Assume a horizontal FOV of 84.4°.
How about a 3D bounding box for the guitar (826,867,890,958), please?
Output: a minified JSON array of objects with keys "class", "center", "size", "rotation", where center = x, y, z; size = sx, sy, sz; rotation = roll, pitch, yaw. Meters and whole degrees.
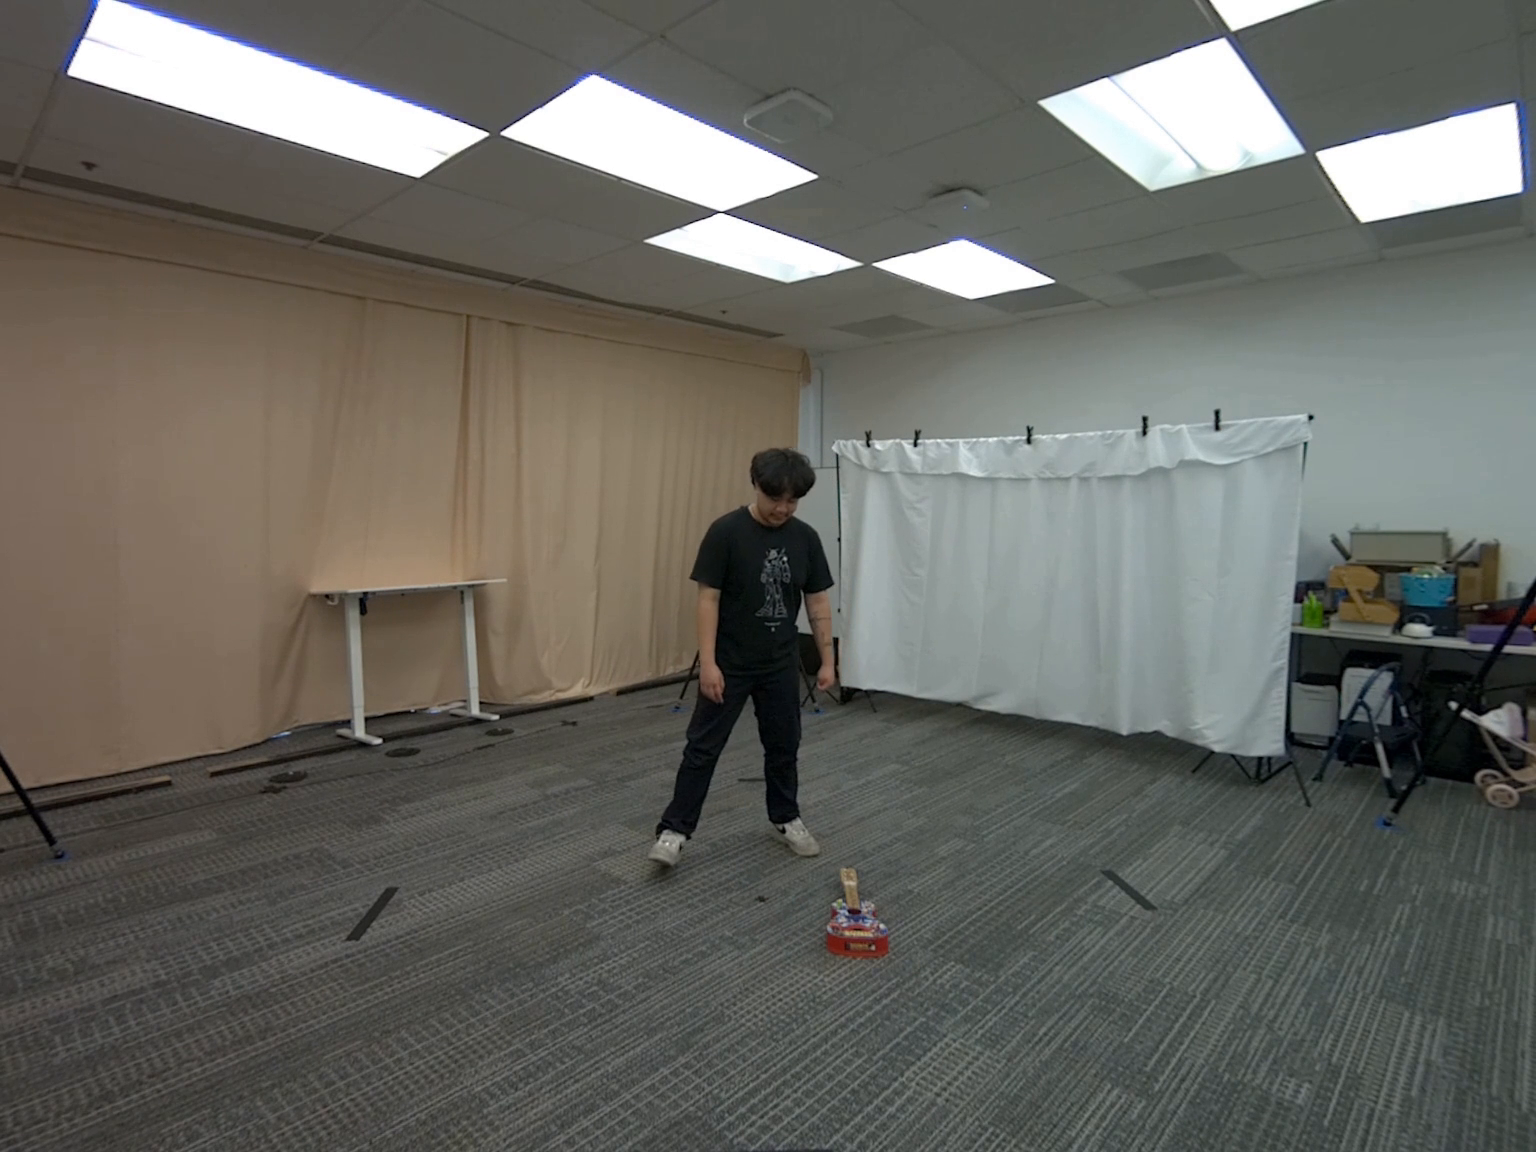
[{"class":"guitar","center":[0.316,1.120,2.834],"size":[0.195,0.070,0.493],"rotation":[0,6,10]}]
